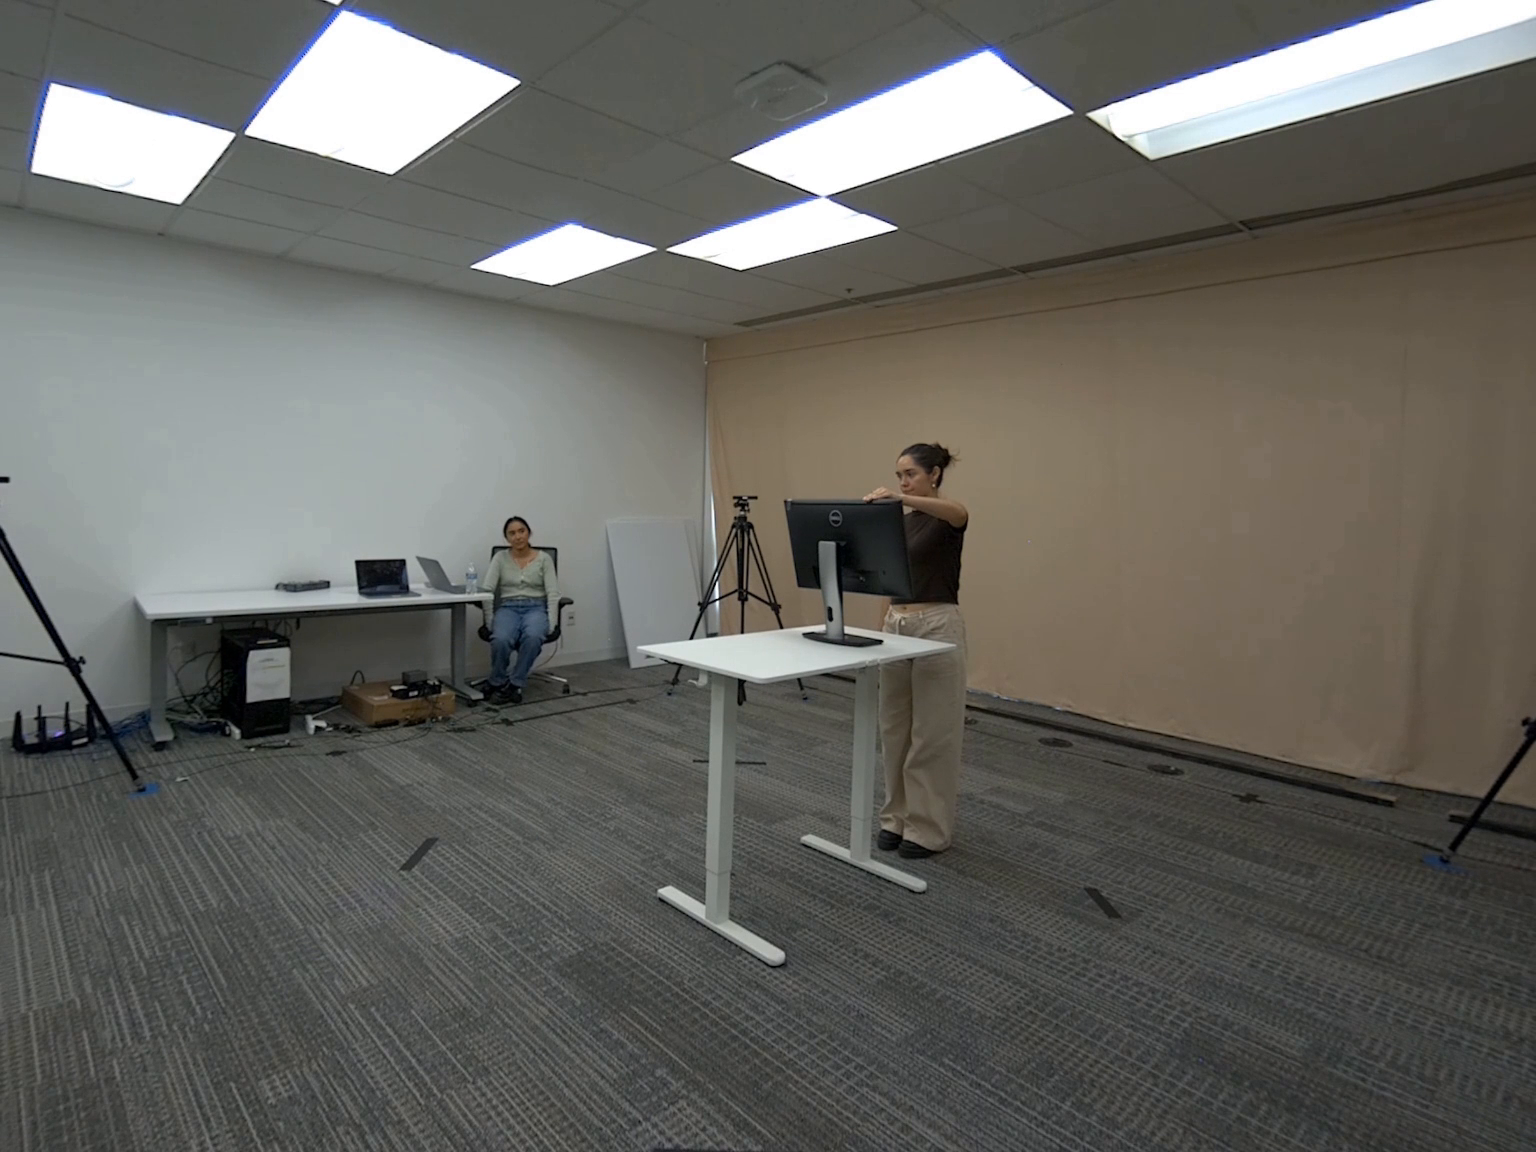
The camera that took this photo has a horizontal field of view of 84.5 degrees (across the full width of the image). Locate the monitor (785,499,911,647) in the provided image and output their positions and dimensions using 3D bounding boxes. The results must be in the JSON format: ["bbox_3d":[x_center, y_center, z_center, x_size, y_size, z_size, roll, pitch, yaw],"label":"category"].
[{"bbox_3d":[0.259,-0.013,3.042,0.553,0.520,0.183,5,7,44],"label":"monitor"}]
